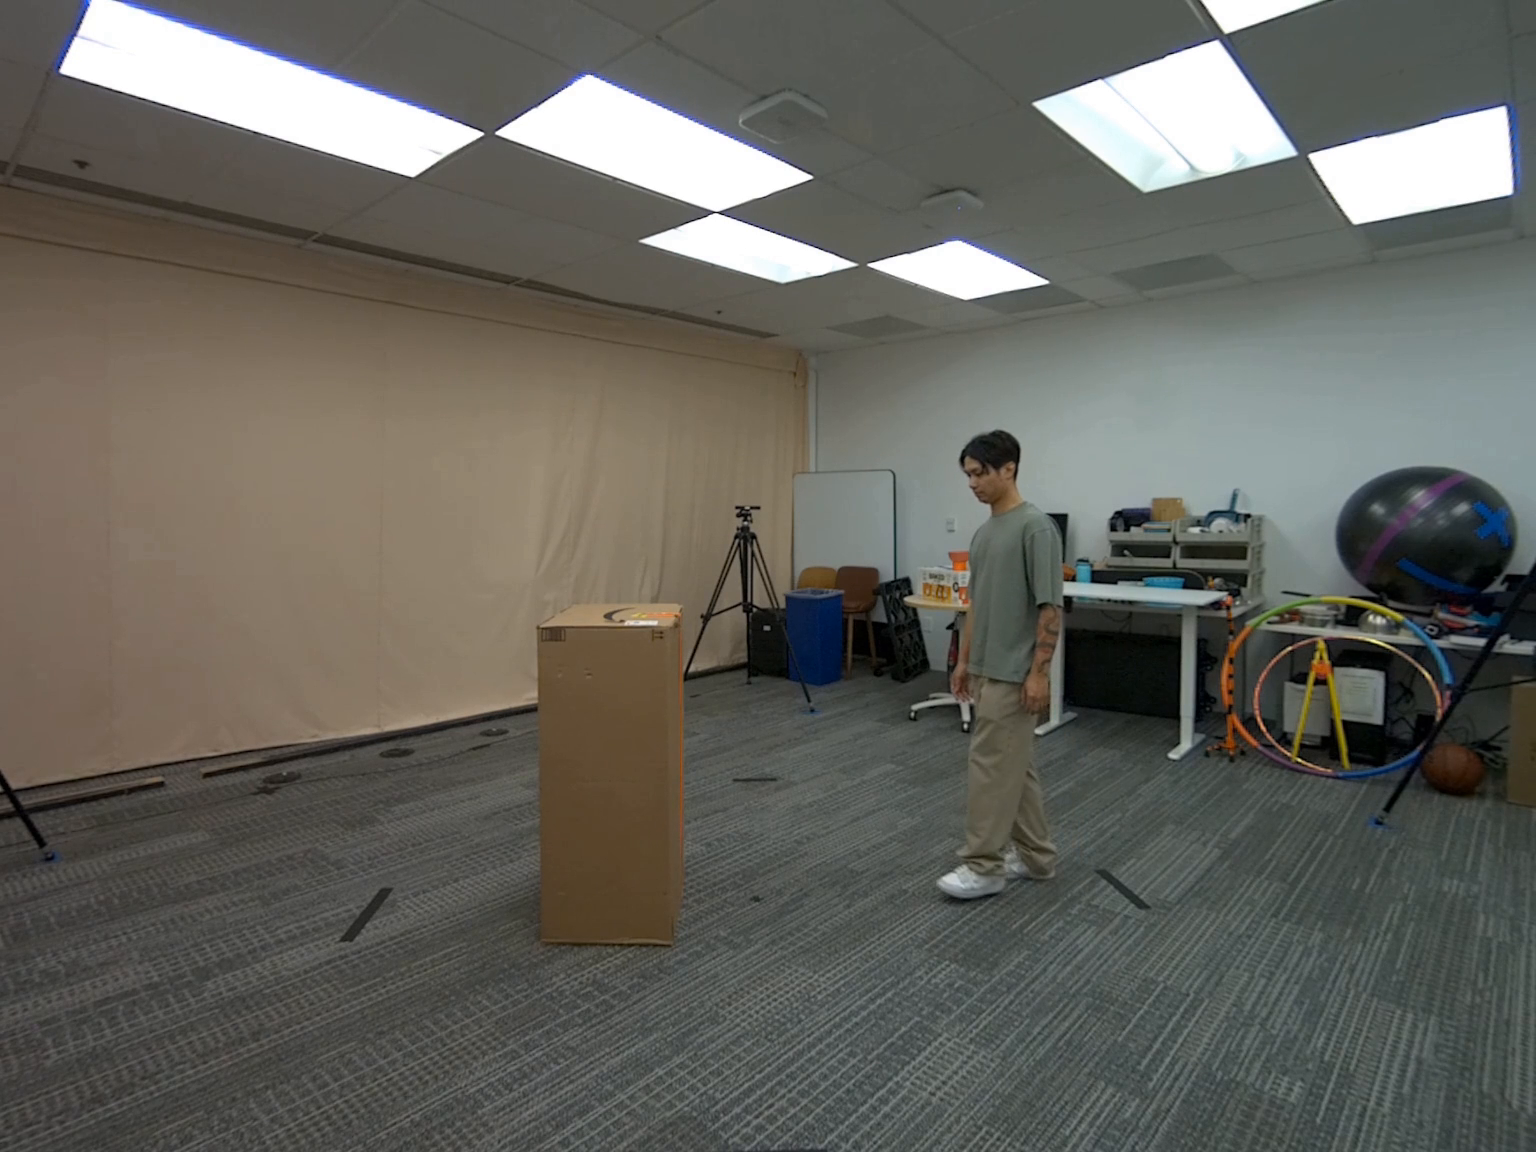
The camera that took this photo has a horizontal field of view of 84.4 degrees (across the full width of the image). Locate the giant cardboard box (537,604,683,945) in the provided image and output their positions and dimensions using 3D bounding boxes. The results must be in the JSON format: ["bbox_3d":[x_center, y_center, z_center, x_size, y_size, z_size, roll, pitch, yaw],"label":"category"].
[{"bbox_3d":[-0.521,0.645,2.933,0.426,1.024,0.578,0,3,-1],"label":"giant cardboard box"}]
